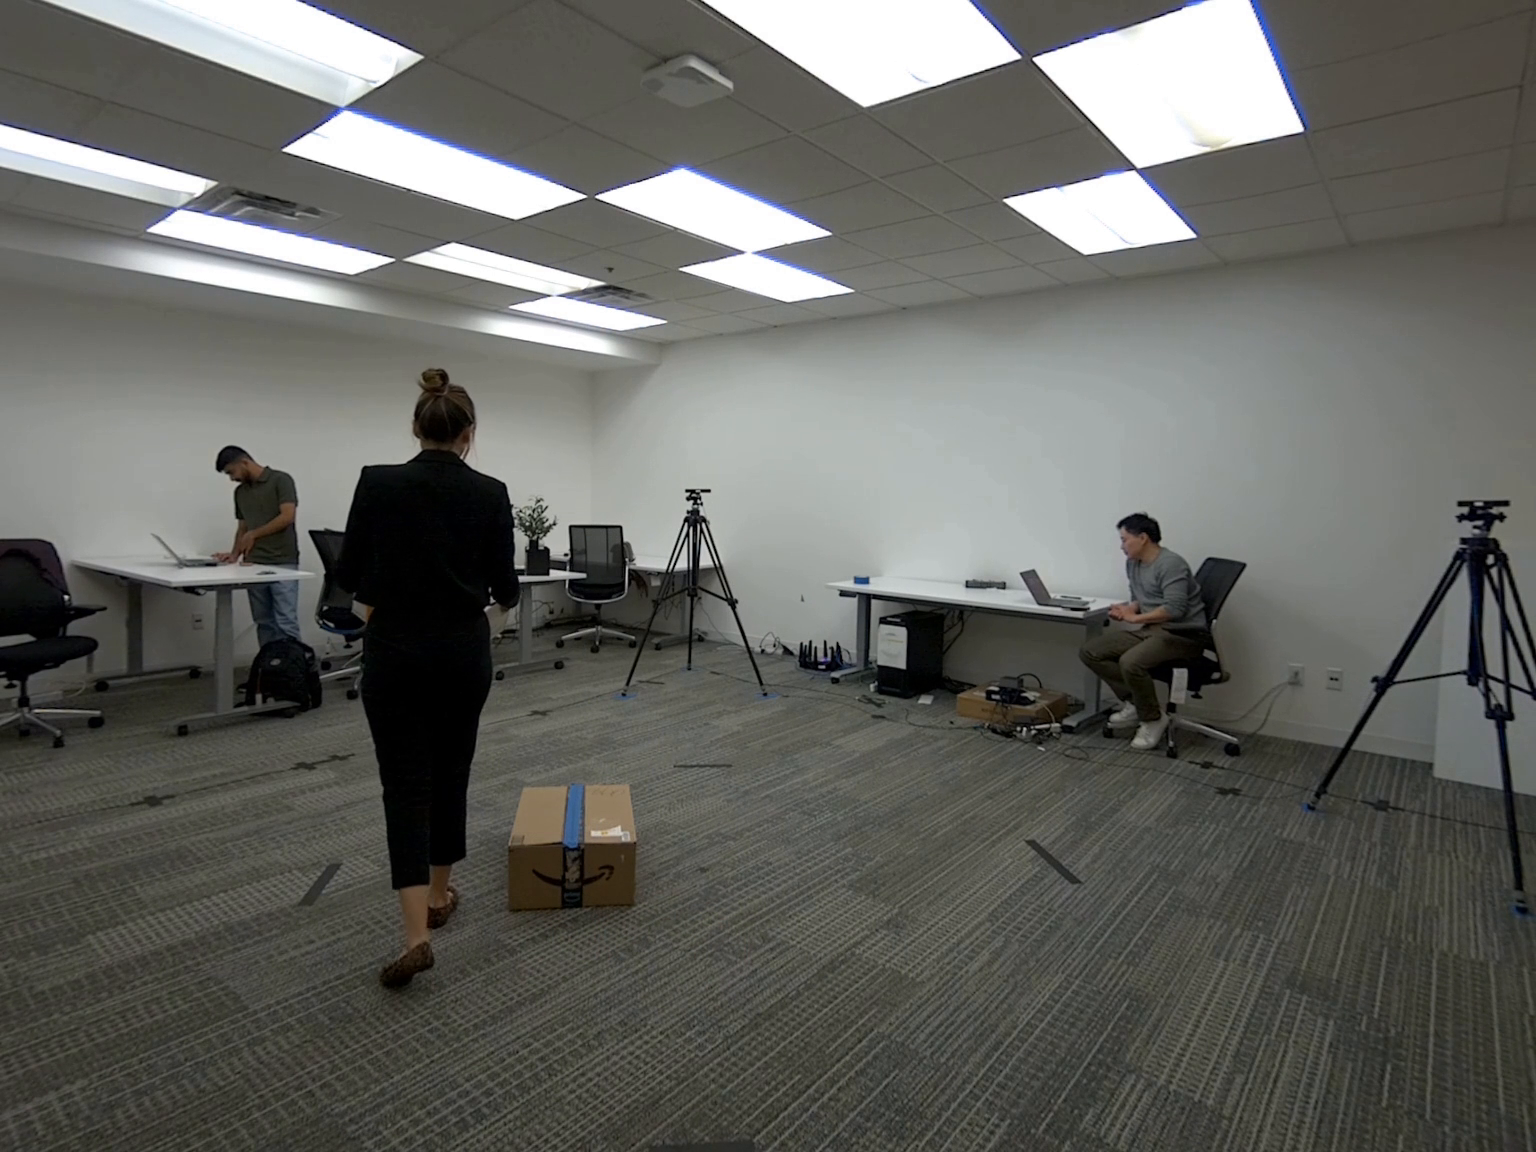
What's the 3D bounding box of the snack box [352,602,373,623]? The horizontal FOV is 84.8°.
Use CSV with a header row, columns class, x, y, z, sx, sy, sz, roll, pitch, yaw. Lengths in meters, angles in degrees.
class,x,y,z,sx,sy,sz,roll,pitch,yaw
snack box,-1.180,0.087,2.996,0.413,0.203,0.339,33,38,12
